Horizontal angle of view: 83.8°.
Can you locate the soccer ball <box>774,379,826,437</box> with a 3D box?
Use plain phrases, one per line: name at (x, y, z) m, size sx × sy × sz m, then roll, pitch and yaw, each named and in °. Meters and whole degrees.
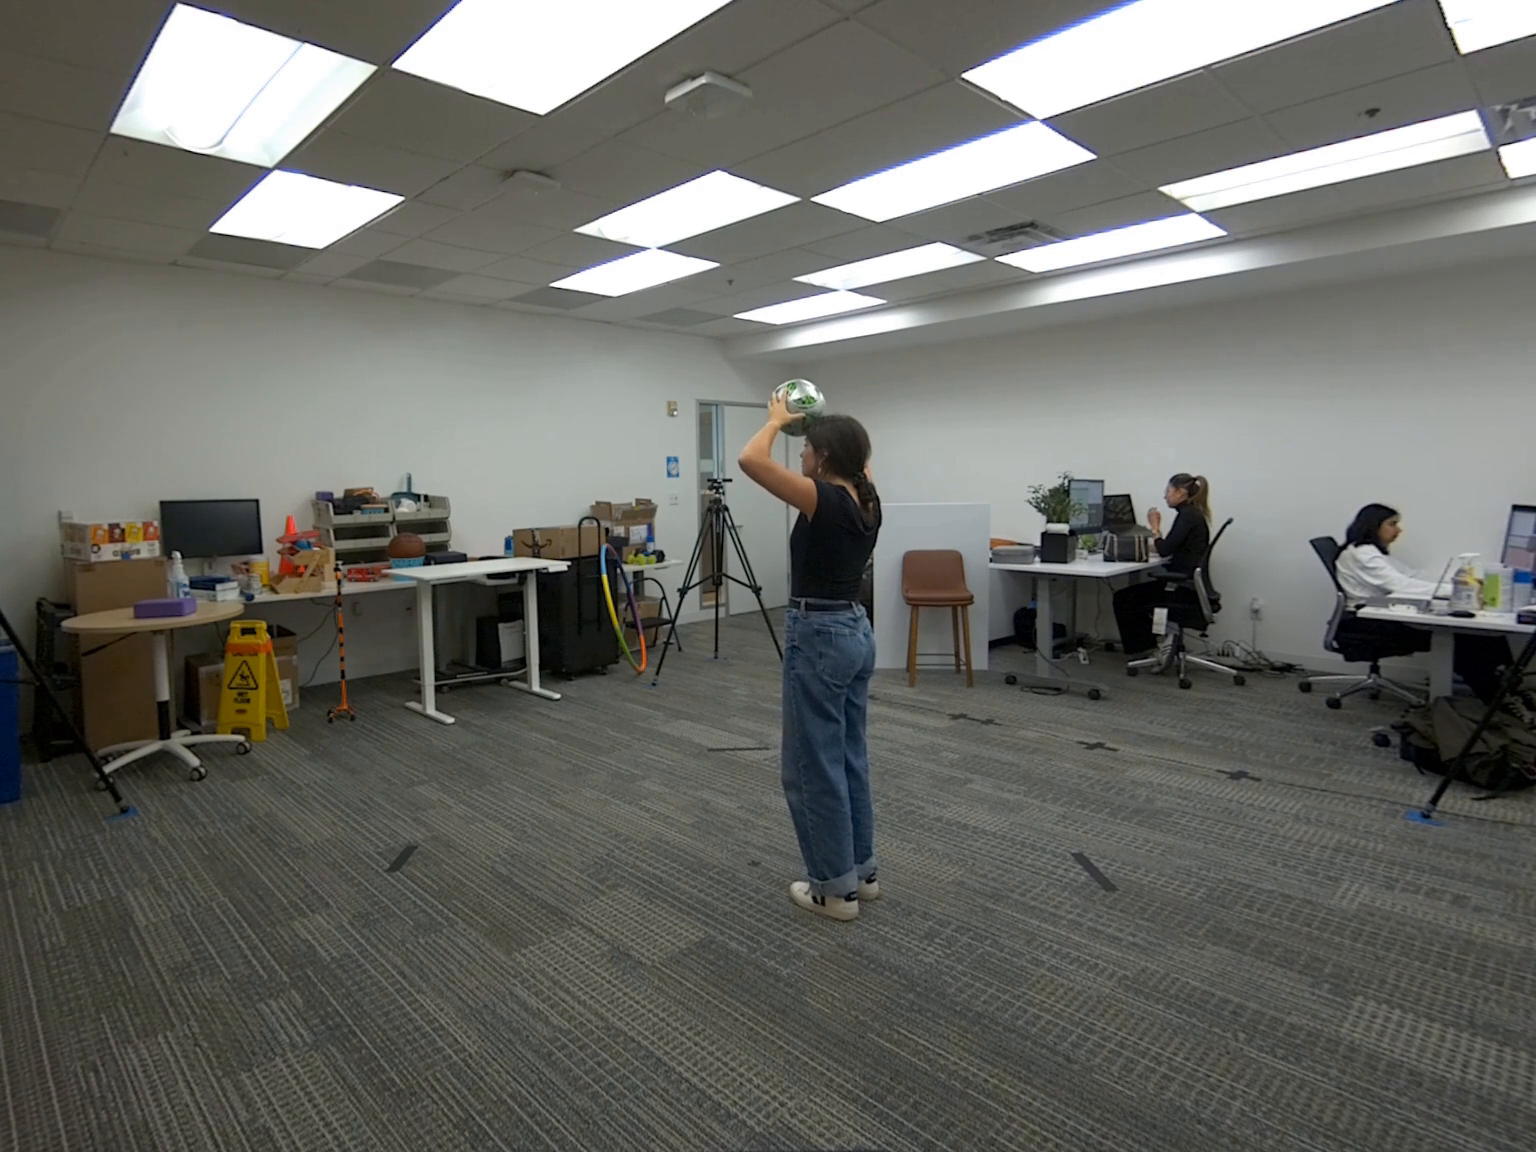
soccer ball at (0.104, -0.558, 2.858) m, size 0.187 × 0.187 × 0.188 m, roll -1°, pitch 5°, yaw -2°
